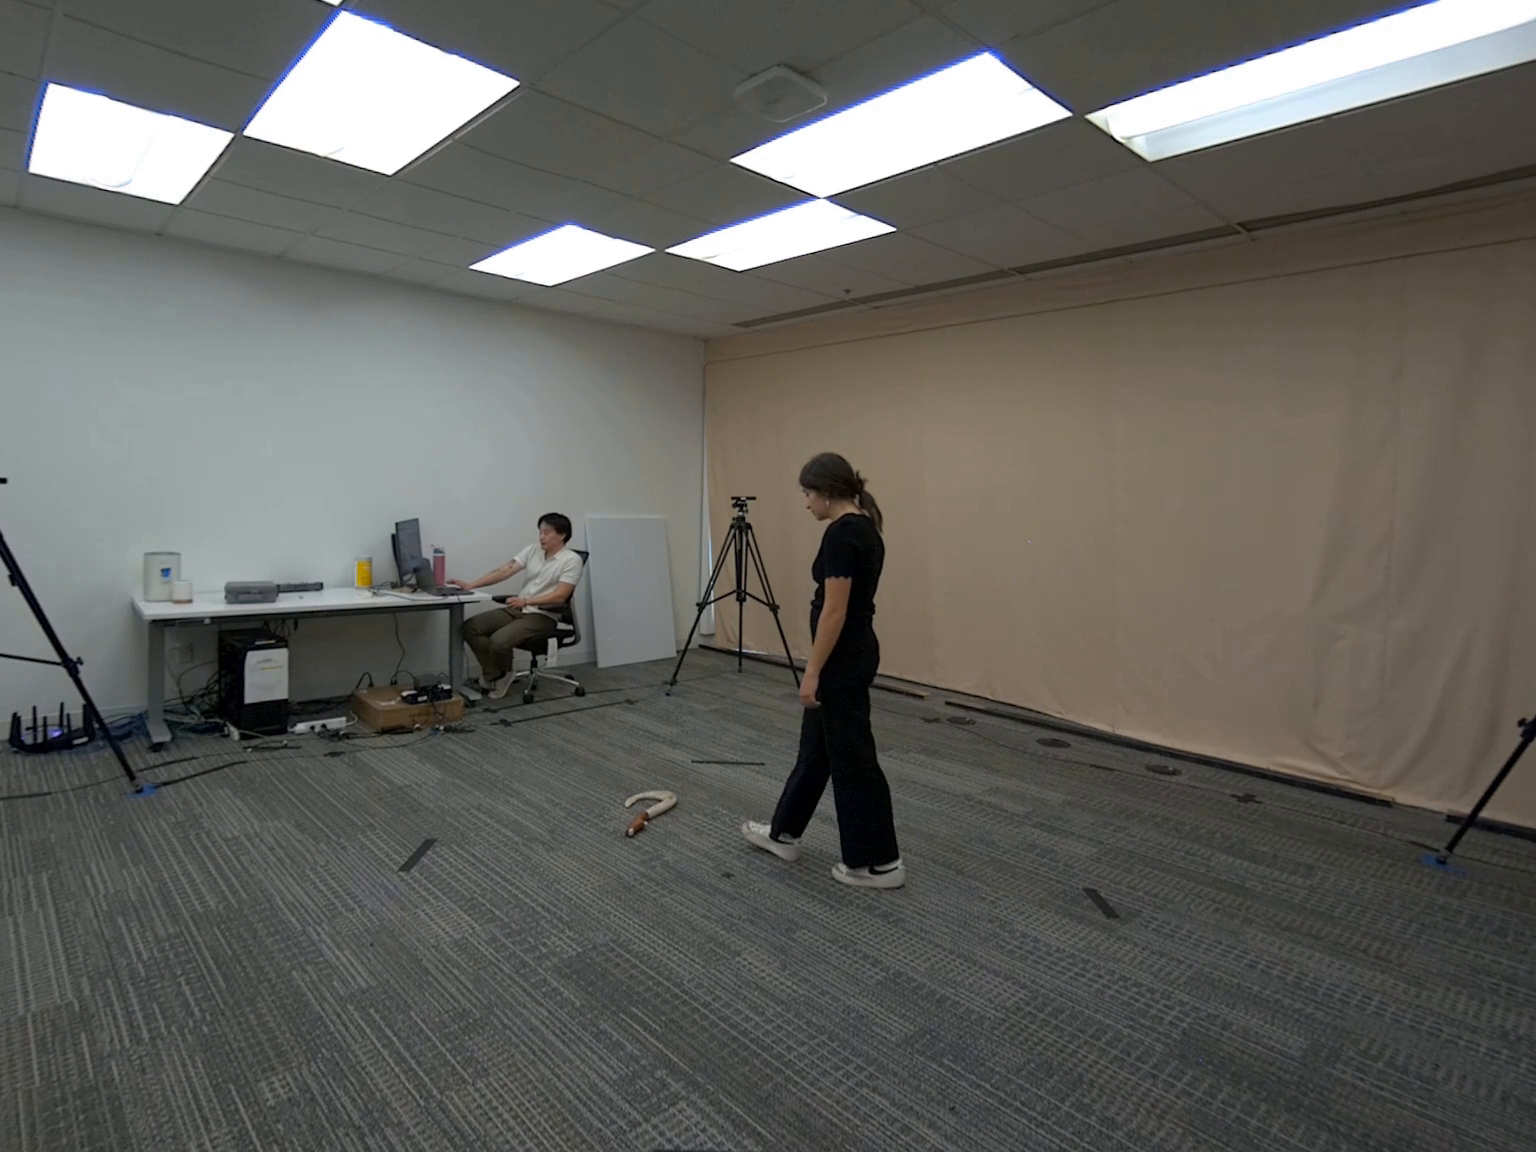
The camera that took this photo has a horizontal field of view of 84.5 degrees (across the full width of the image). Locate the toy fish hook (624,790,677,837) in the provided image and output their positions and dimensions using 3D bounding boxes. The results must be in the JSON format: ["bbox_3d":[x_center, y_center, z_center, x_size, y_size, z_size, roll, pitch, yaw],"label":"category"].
[{"bbox_3d":[-0.566,1.028,3.671,0.227,0.048,0.501,-5,2,15],"label":"toy fish hook"}]
